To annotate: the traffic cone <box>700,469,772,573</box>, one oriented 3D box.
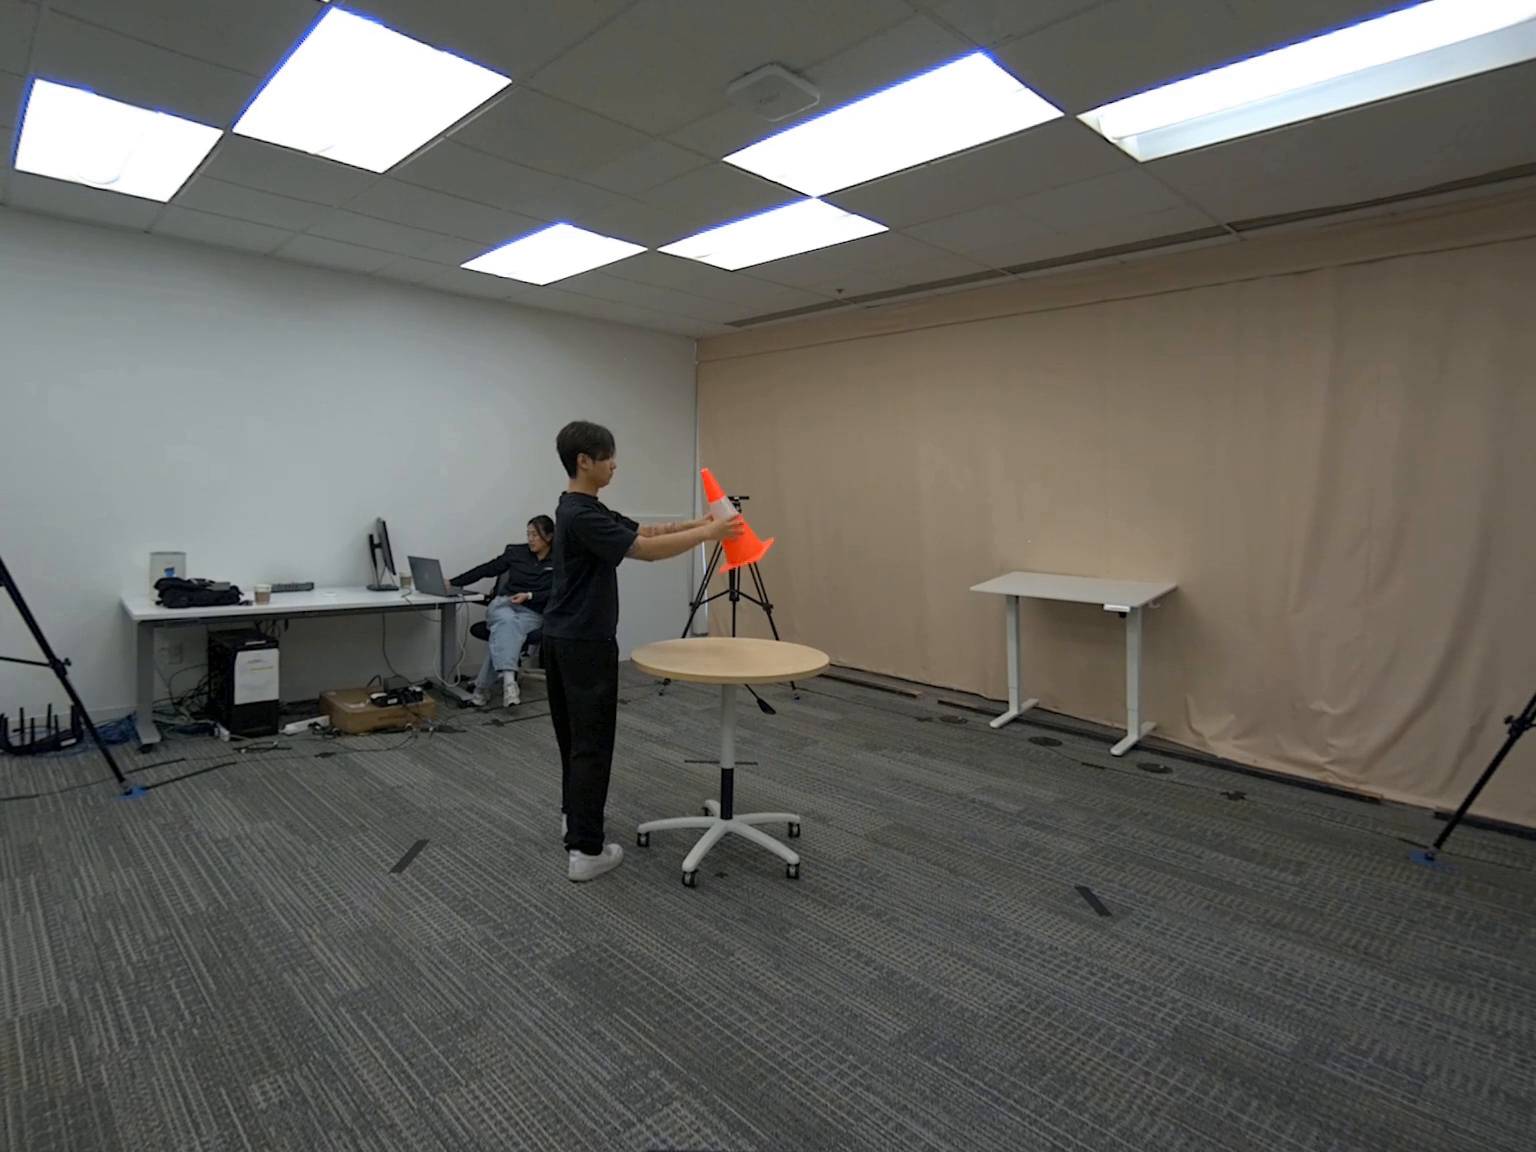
[{"bbox_3d":[-0.183,-0.247,3.271,0.206,0.379,0.204,-18,14,31],"label":"traffic cone"}]
